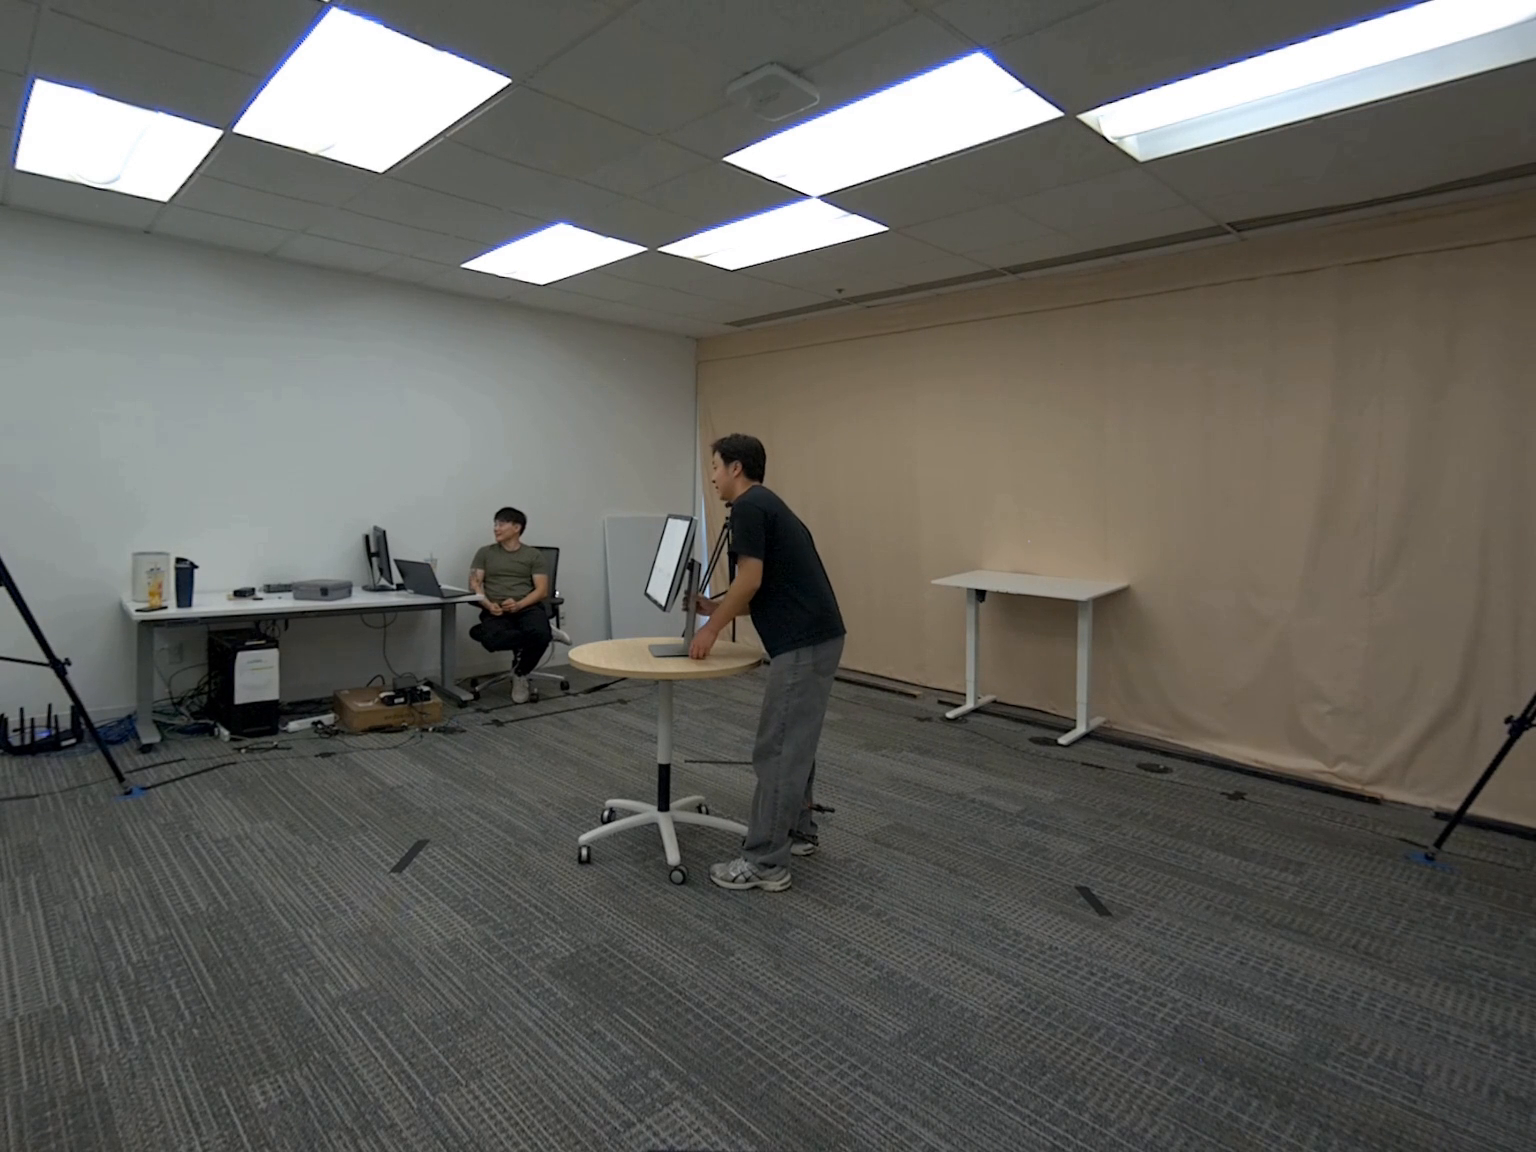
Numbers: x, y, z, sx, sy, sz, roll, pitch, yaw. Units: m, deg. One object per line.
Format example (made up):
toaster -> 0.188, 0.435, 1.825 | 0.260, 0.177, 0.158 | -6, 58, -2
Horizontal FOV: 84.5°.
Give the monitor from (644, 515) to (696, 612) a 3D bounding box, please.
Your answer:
monitor -> -0.370, 0.039, 3.341 | 0.220, 0.565, 0.568 | 0, 4, -12
